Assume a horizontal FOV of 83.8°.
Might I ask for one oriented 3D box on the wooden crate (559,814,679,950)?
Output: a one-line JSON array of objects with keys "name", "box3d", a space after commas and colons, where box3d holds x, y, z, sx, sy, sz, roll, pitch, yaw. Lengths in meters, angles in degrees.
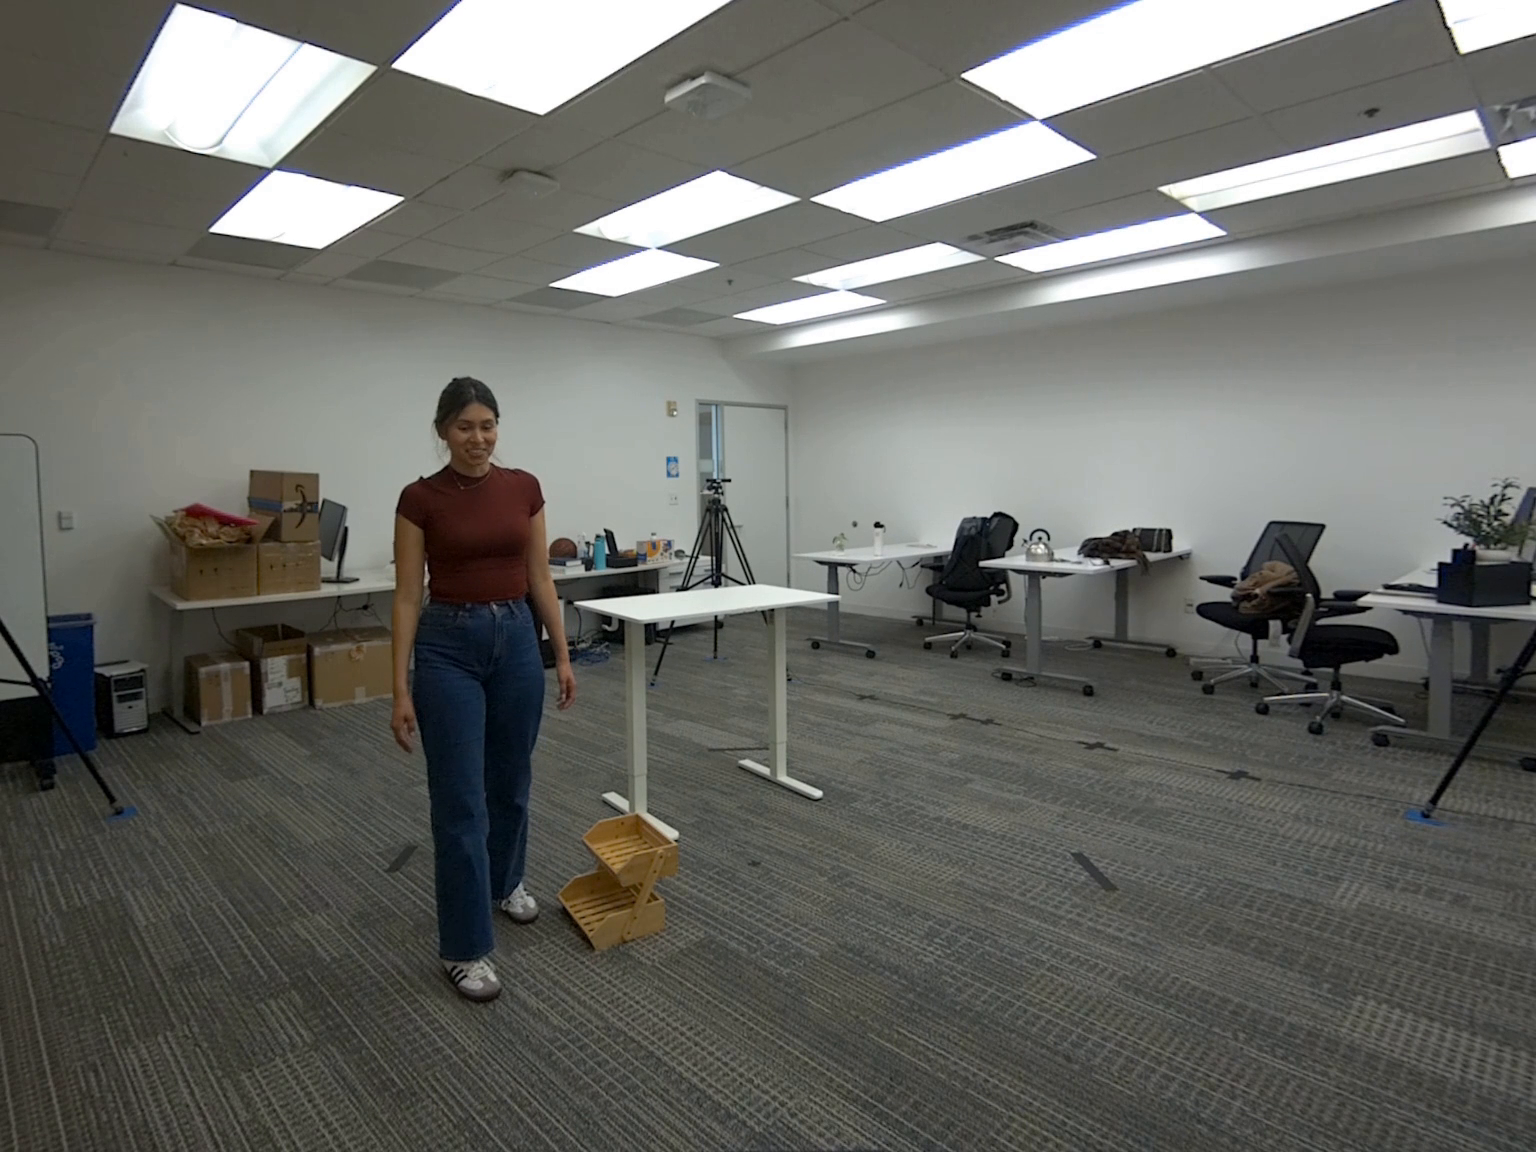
[{"name": "wooden crate", "box3d": [-0.485, 0.960, 2.736, 0.295, 0.272, 0.334, -4, 6, -31]}]
